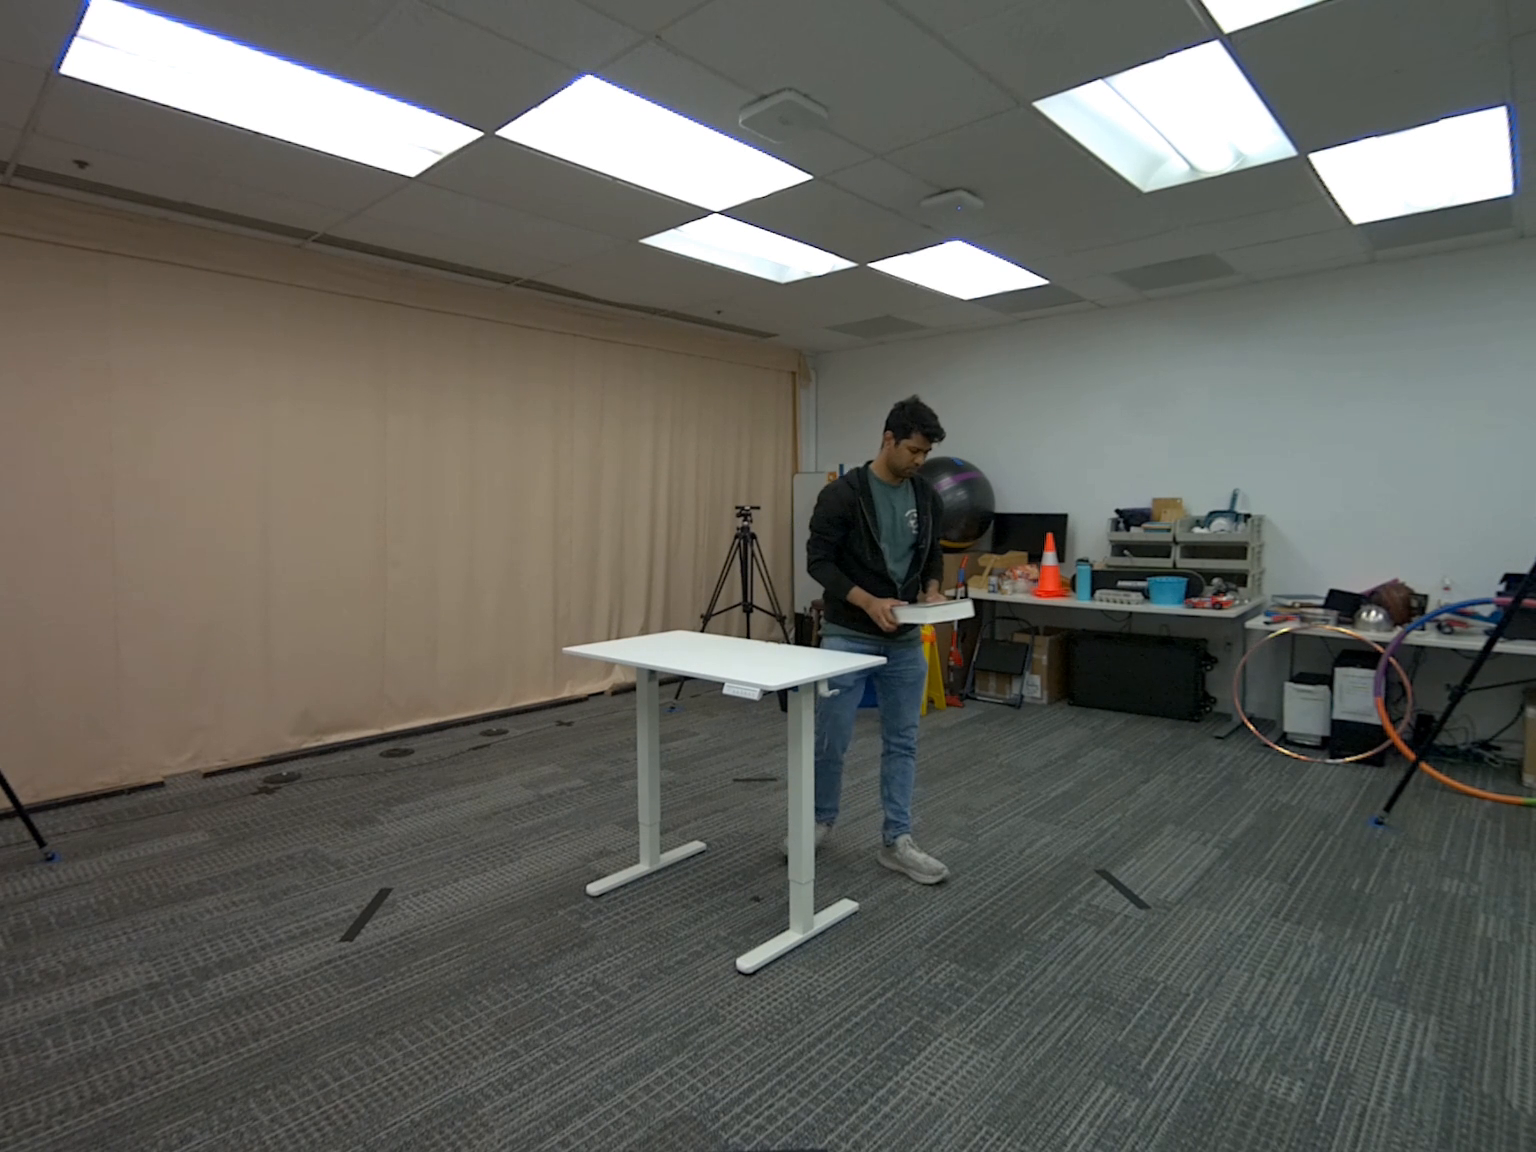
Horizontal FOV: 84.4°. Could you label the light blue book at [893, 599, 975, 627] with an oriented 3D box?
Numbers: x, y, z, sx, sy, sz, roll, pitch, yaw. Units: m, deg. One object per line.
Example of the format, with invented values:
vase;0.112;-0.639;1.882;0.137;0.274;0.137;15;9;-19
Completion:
light blue book;0.556;0.133;2.920;0.188;0.059;0.265;-7;0;-19
